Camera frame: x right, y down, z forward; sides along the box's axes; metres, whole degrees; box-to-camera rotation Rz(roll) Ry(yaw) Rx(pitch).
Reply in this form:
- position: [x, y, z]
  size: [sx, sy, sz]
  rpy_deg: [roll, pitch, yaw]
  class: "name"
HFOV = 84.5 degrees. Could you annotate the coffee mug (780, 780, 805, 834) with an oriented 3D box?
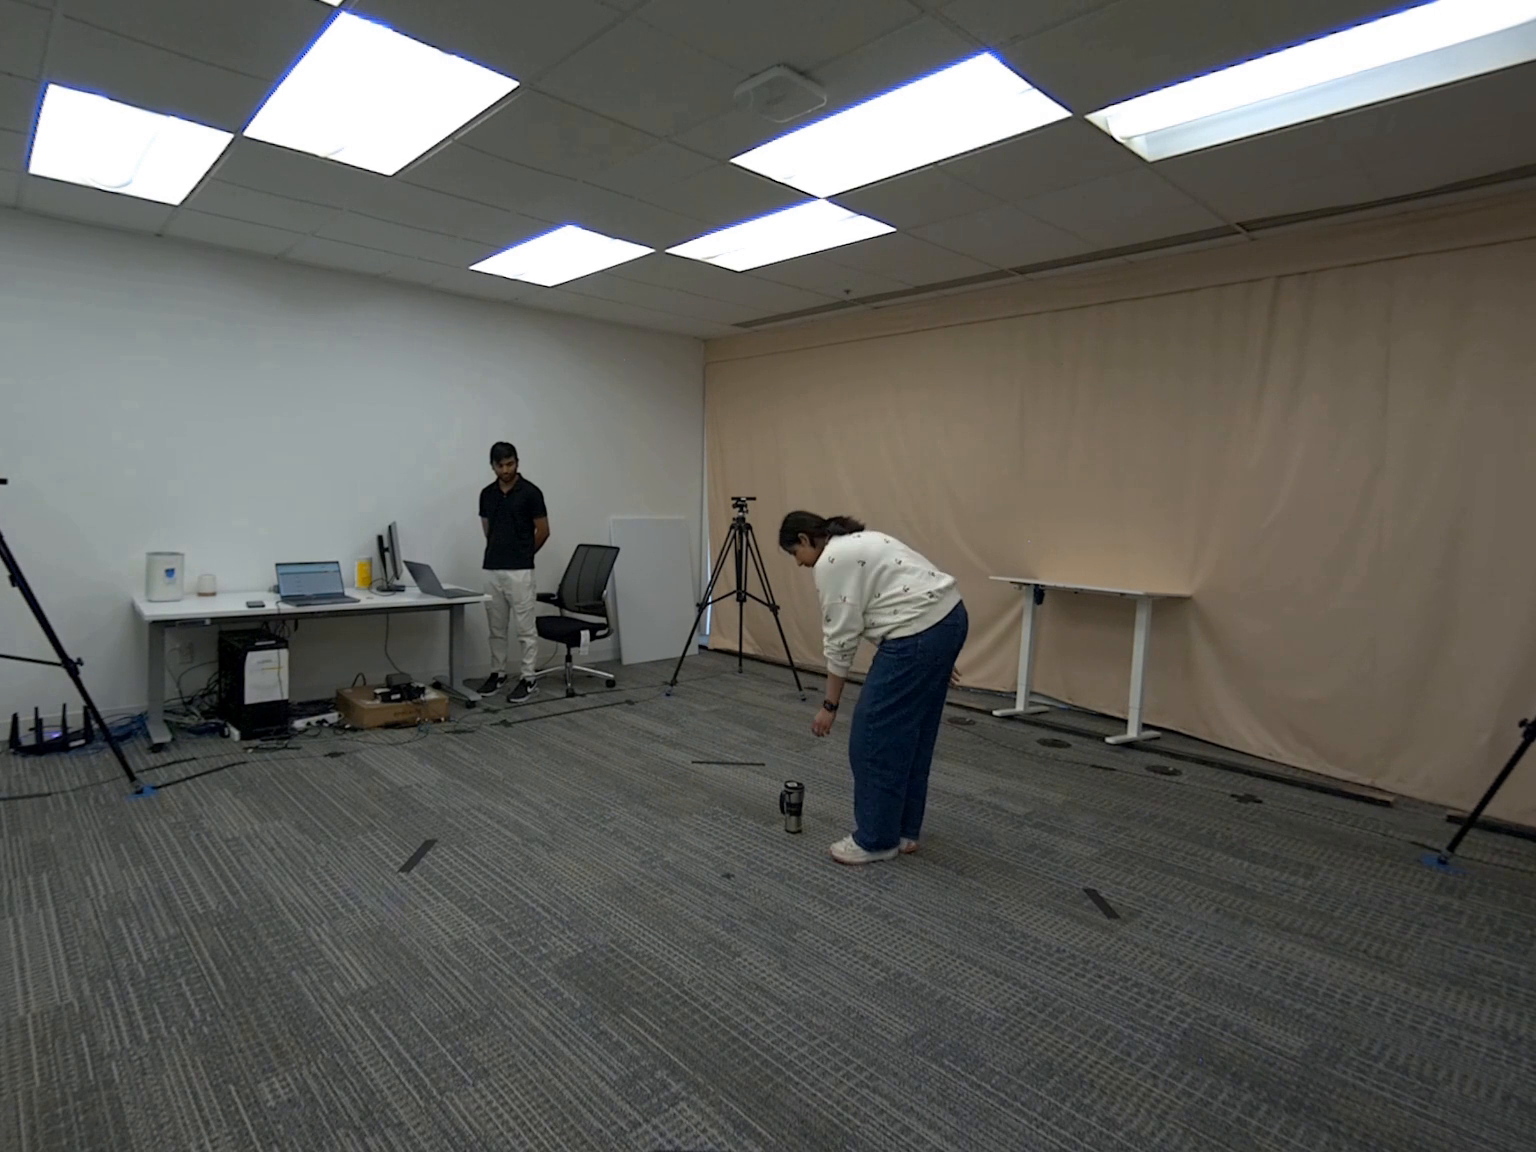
- position: [0.084, 0.968, 3.537]
  size: [0.119, 0.202, 0.090]
  rpy_deg: [3, 5, -30]
  class: "coffee mug"
